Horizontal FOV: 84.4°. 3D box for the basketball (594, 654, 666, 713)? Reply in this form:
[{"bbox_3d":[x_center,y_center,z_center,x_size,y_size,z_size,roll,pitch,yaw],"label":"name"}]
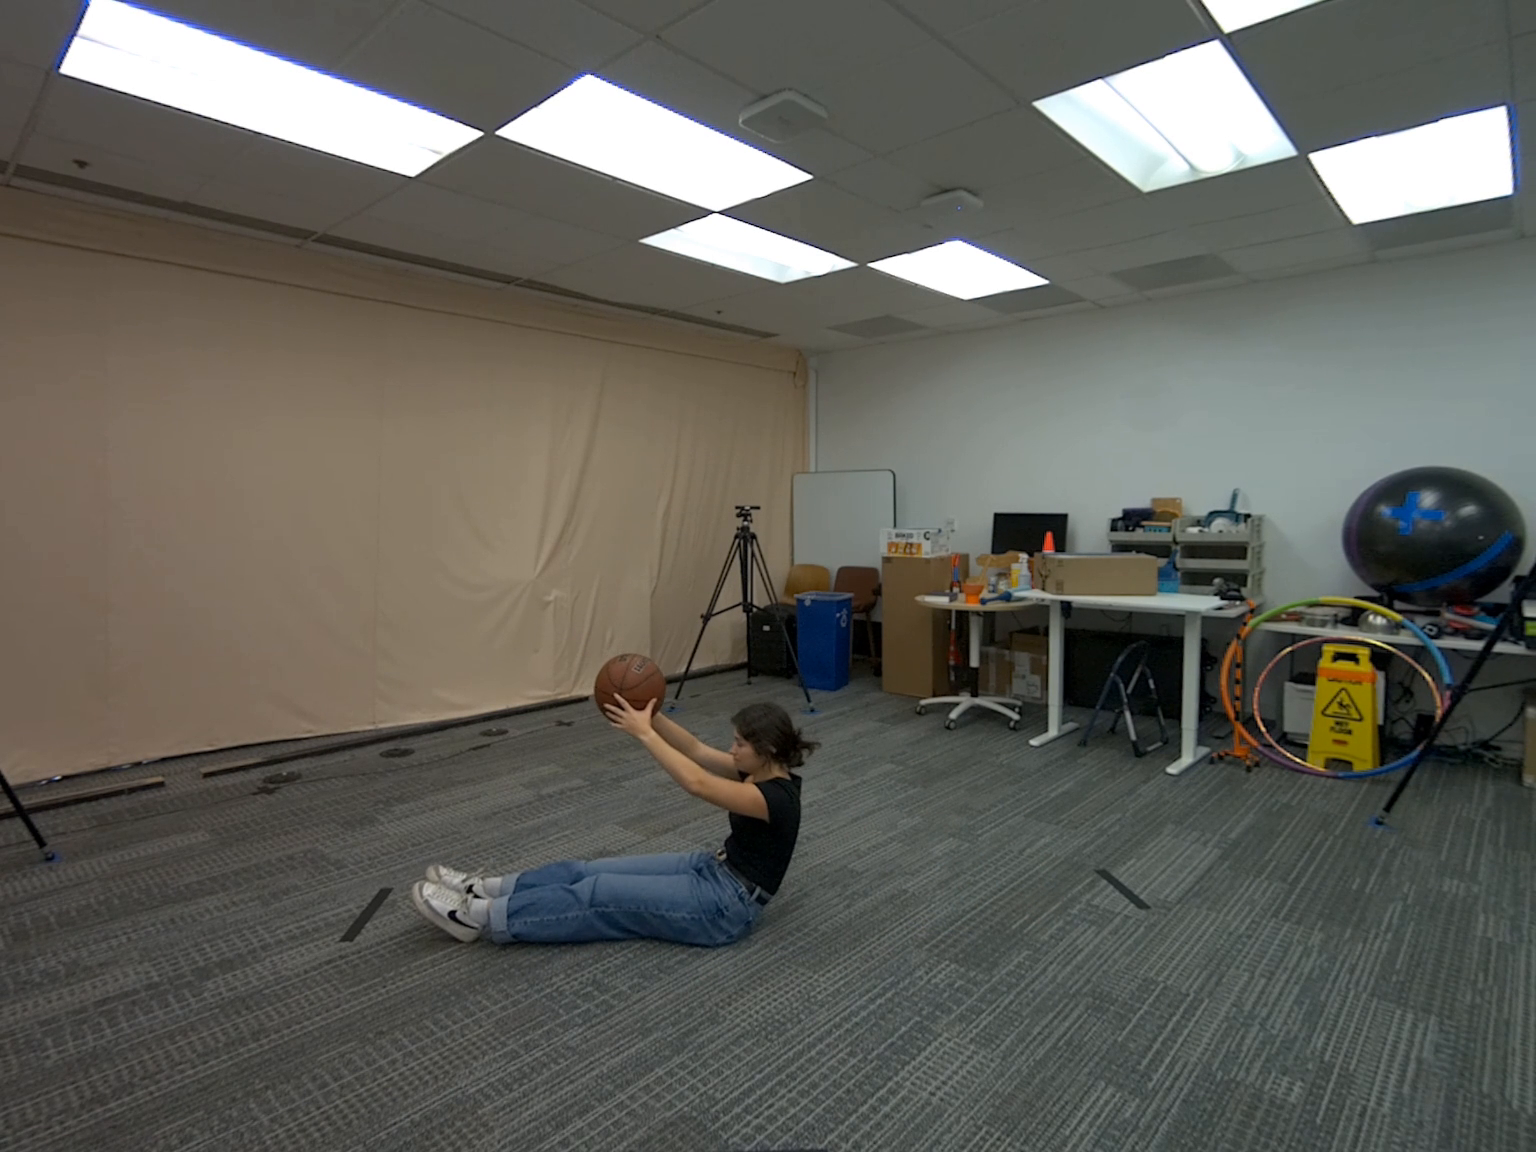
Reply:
[{"bbox_3d":[-0.453,0.377,2.802,0.236,0.235,0.237,0,4,-2],"label":"basketball"}]
